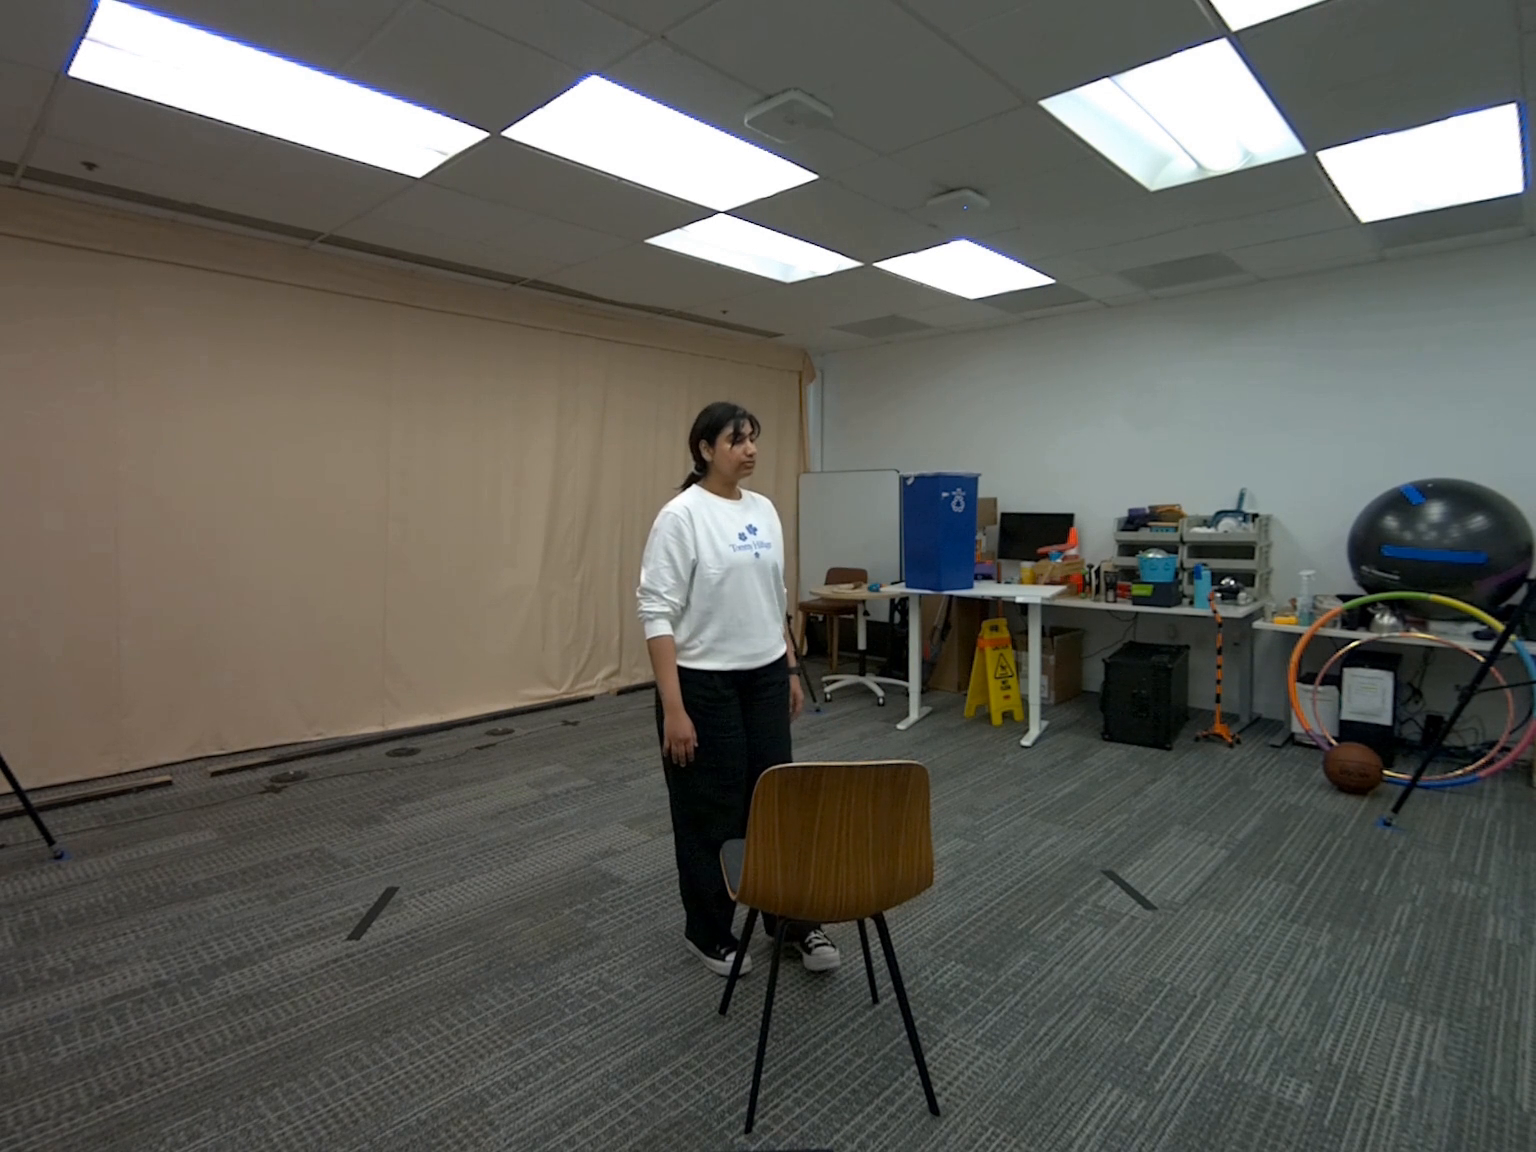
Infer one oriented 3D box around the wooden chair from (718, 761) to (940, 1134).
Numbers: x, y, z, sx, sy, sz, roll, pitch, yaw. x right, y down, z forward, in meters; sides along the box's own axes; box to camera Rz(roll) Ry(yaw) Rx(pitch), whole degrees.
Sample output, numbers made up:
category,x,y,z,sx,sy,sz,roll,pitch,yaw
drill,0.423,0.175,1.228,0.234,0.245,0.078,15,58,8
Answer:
category,x,y,z,sx,sy,sz,roll,pitch,yaw
wooden chair,0.134,0.788,2.098,0.474,0.873,0.530,-1,8,-8
